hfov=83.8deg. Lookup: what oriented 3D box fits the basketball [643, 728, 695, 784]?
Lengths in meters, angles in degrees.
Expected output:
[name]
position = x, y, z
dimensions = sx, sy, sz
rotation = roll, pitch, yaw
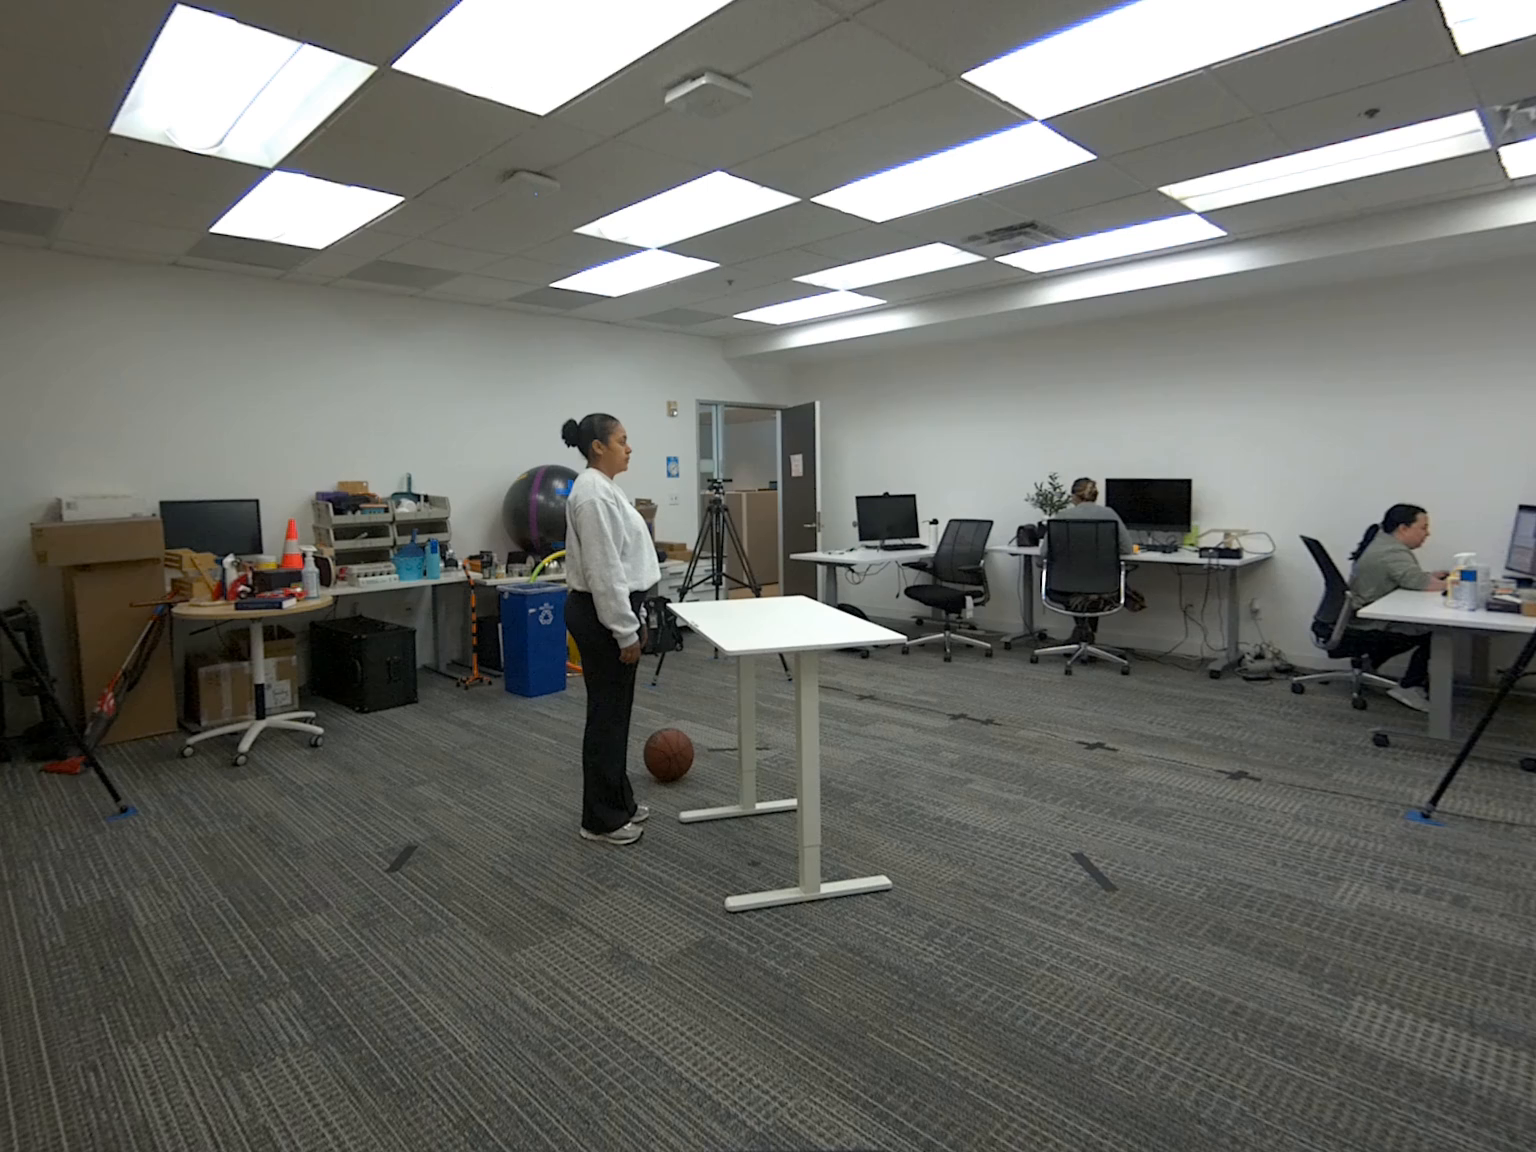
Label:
[basketball]
position = -0.465, 0.834, 4.006
dimensions = 0.236, 0.235, 0.237
rotation = -1, 5, -2
